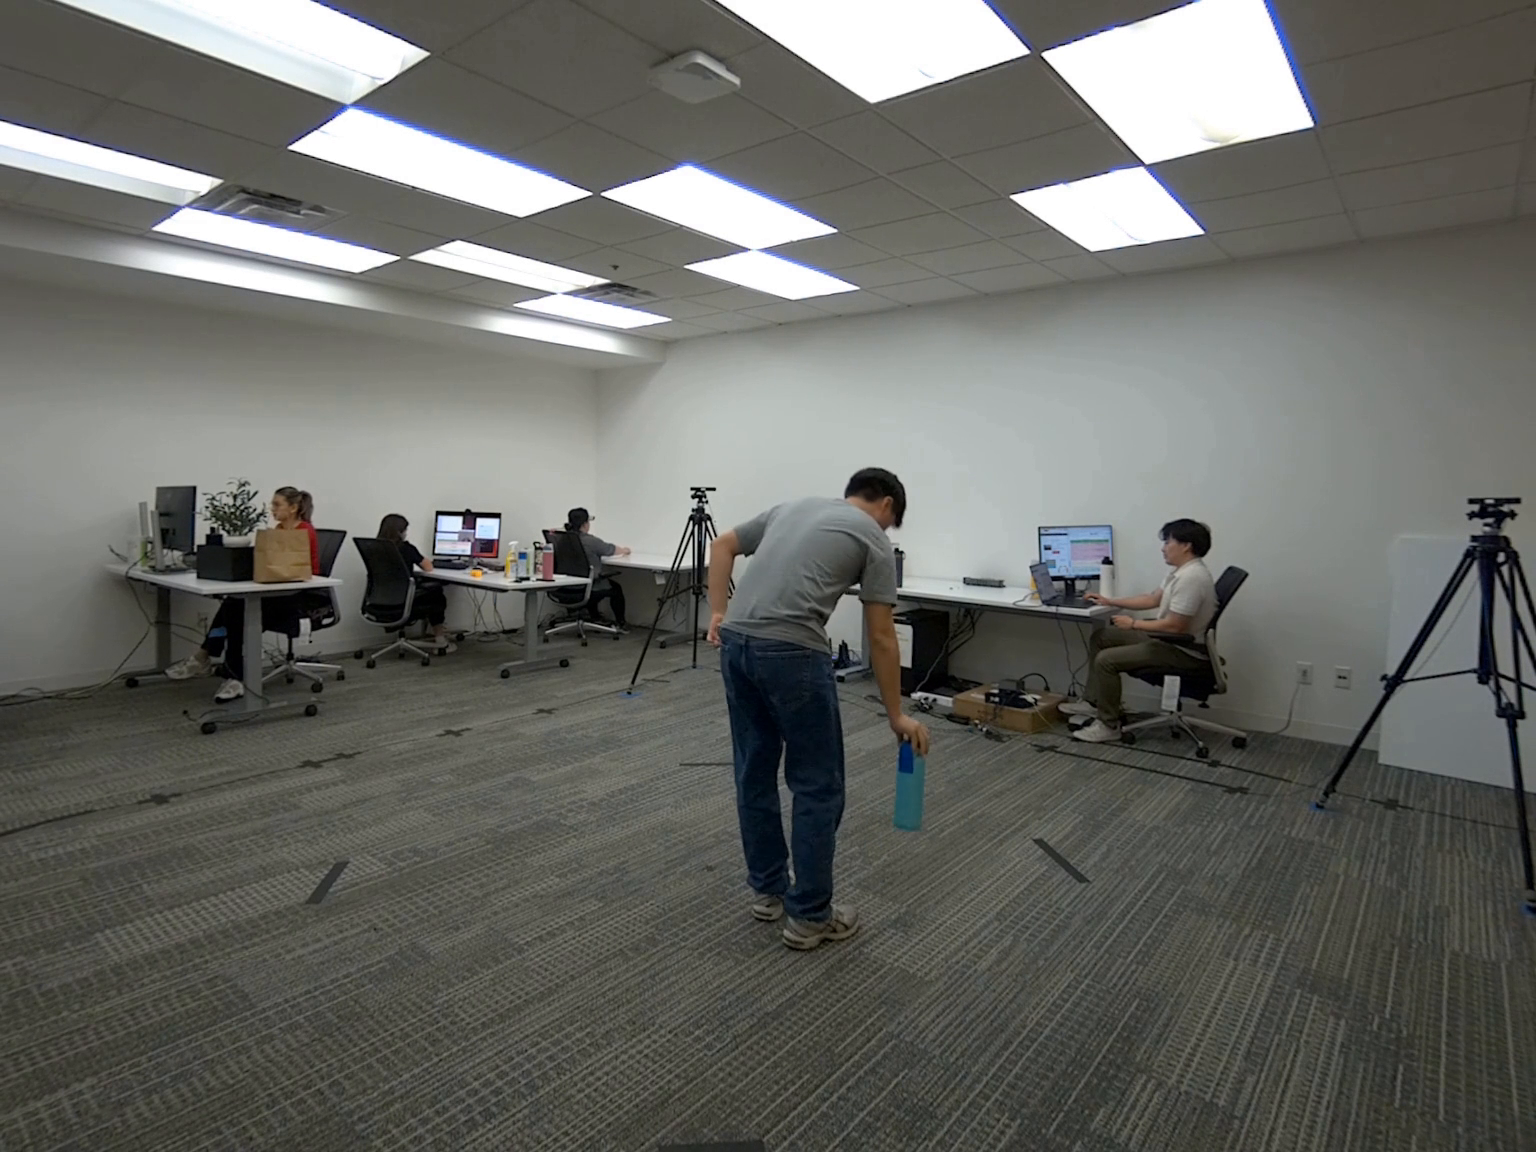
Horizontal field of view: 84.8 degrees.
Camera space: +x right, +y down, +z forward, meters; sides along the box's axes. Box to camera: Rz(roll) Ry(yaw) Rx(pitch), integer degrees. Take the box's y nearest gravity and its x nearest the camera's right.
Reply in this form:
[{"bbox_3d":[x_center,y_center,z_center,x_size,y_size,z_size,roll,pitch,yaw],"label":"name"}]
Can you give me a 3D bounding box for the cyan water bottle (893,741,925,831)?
[{"bbox_3d":[0.445,0.663,2.693,0.092,0.284,0.092,5,-3,-2],"label":"cyan water bottle"}]
